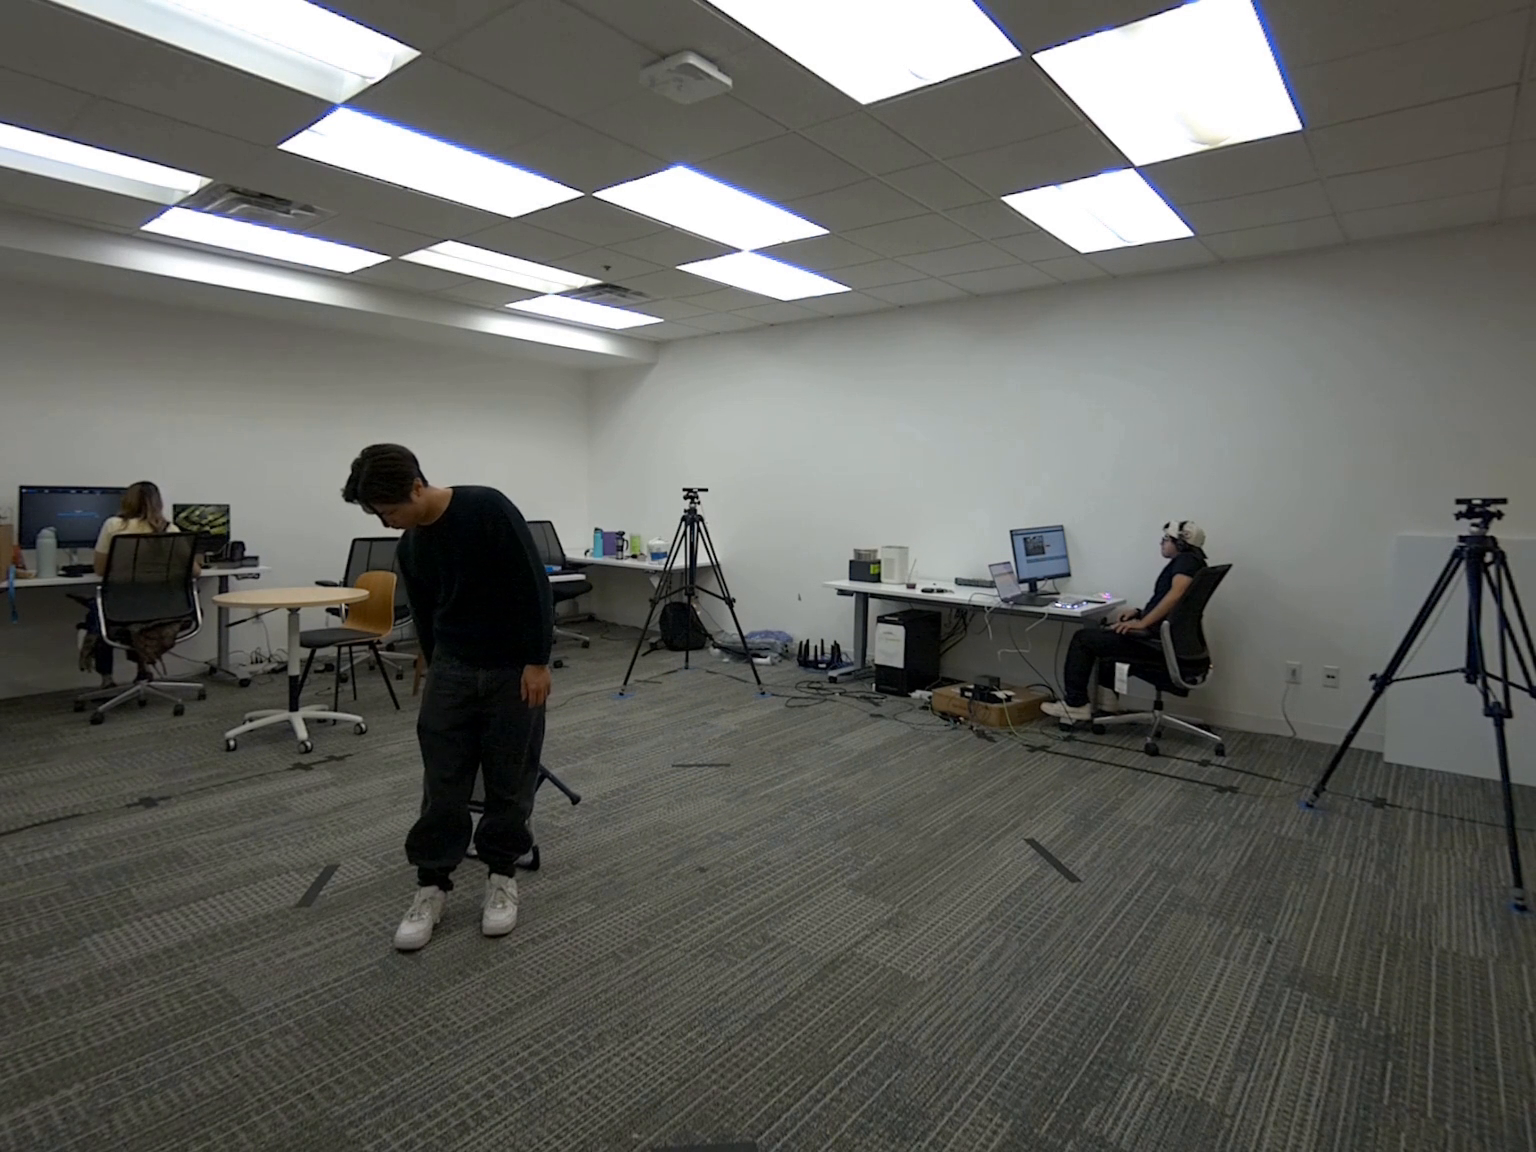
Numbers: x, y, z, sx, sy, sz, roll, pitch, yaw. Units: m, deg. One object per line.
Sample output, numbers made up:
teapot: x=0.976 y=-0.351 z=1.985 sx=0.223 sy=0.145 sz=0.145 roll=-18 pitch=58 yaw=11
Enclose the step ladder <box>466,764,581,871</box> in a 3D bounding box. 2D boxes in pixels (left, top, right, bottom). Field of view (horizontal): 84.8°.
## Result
step ladder: x=-1.039 y=0.712 z=3.117 sx=0.439 sy=0.588 sz=0.353 roll=1 pitch=33 yaw=18
